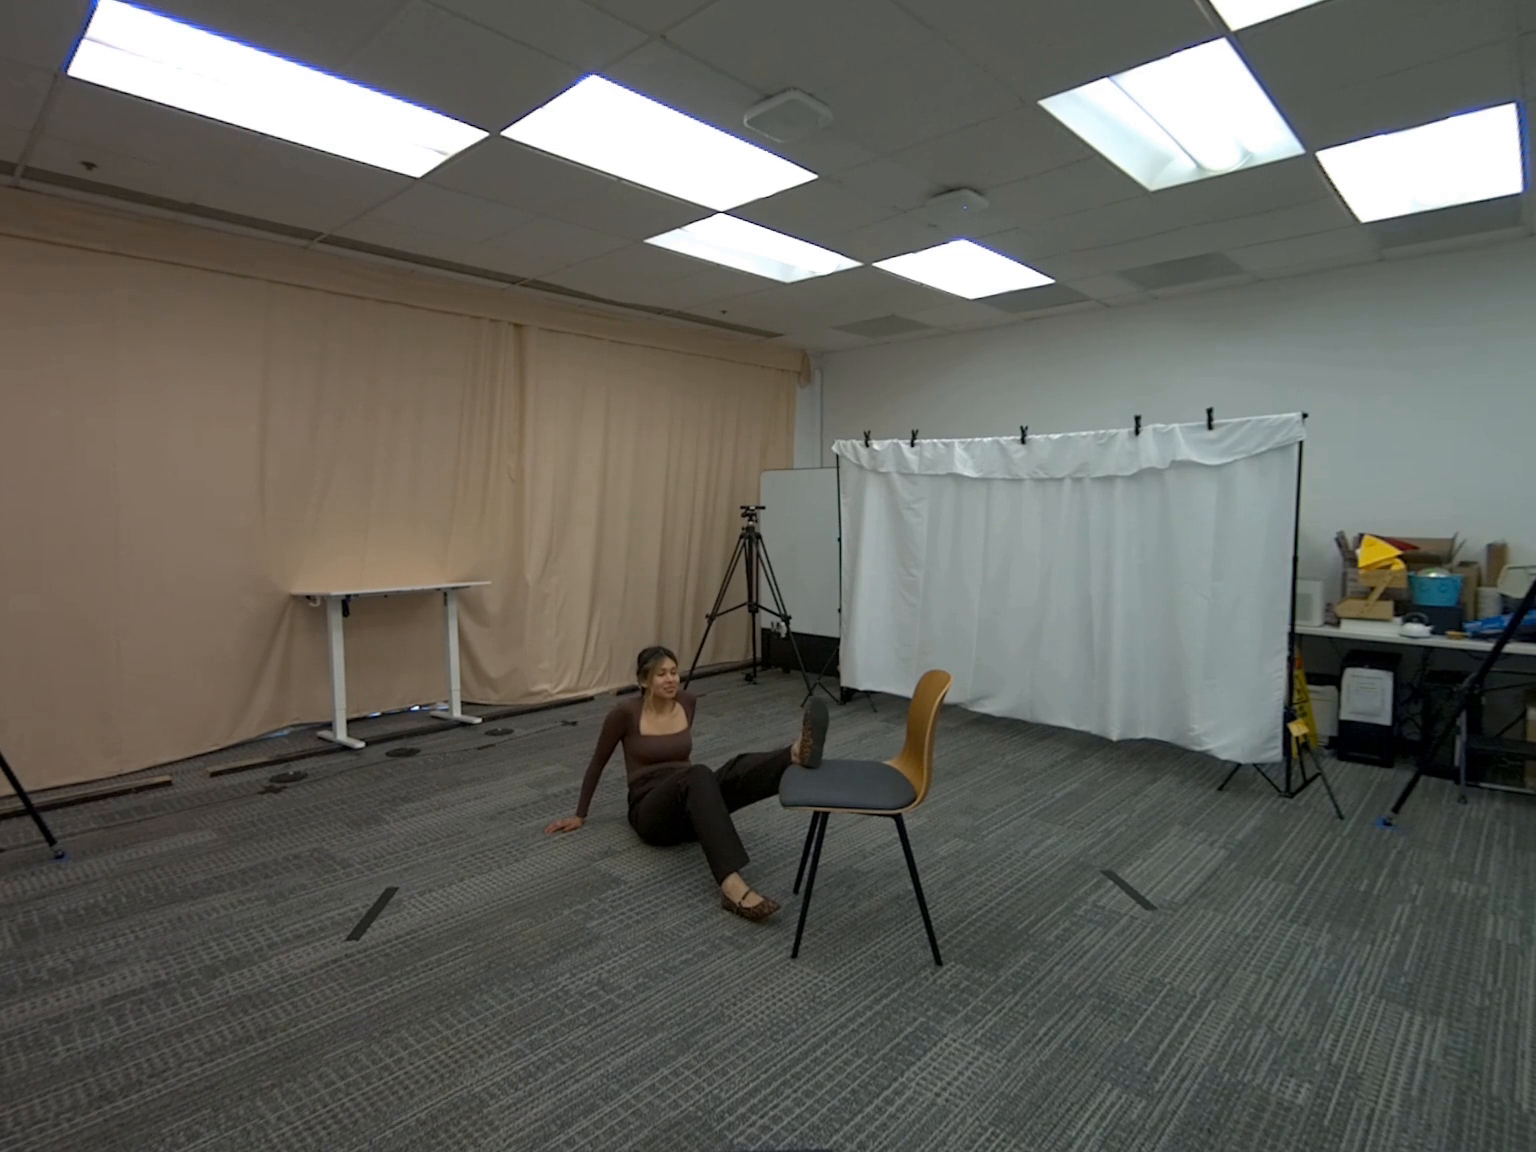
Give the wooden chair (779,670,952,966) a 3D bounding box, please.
[{"bbox_3d":[0.307,0.735,2.757,0.527,0.875,0.476,4,4,5],"label":"wooden chair"}]
